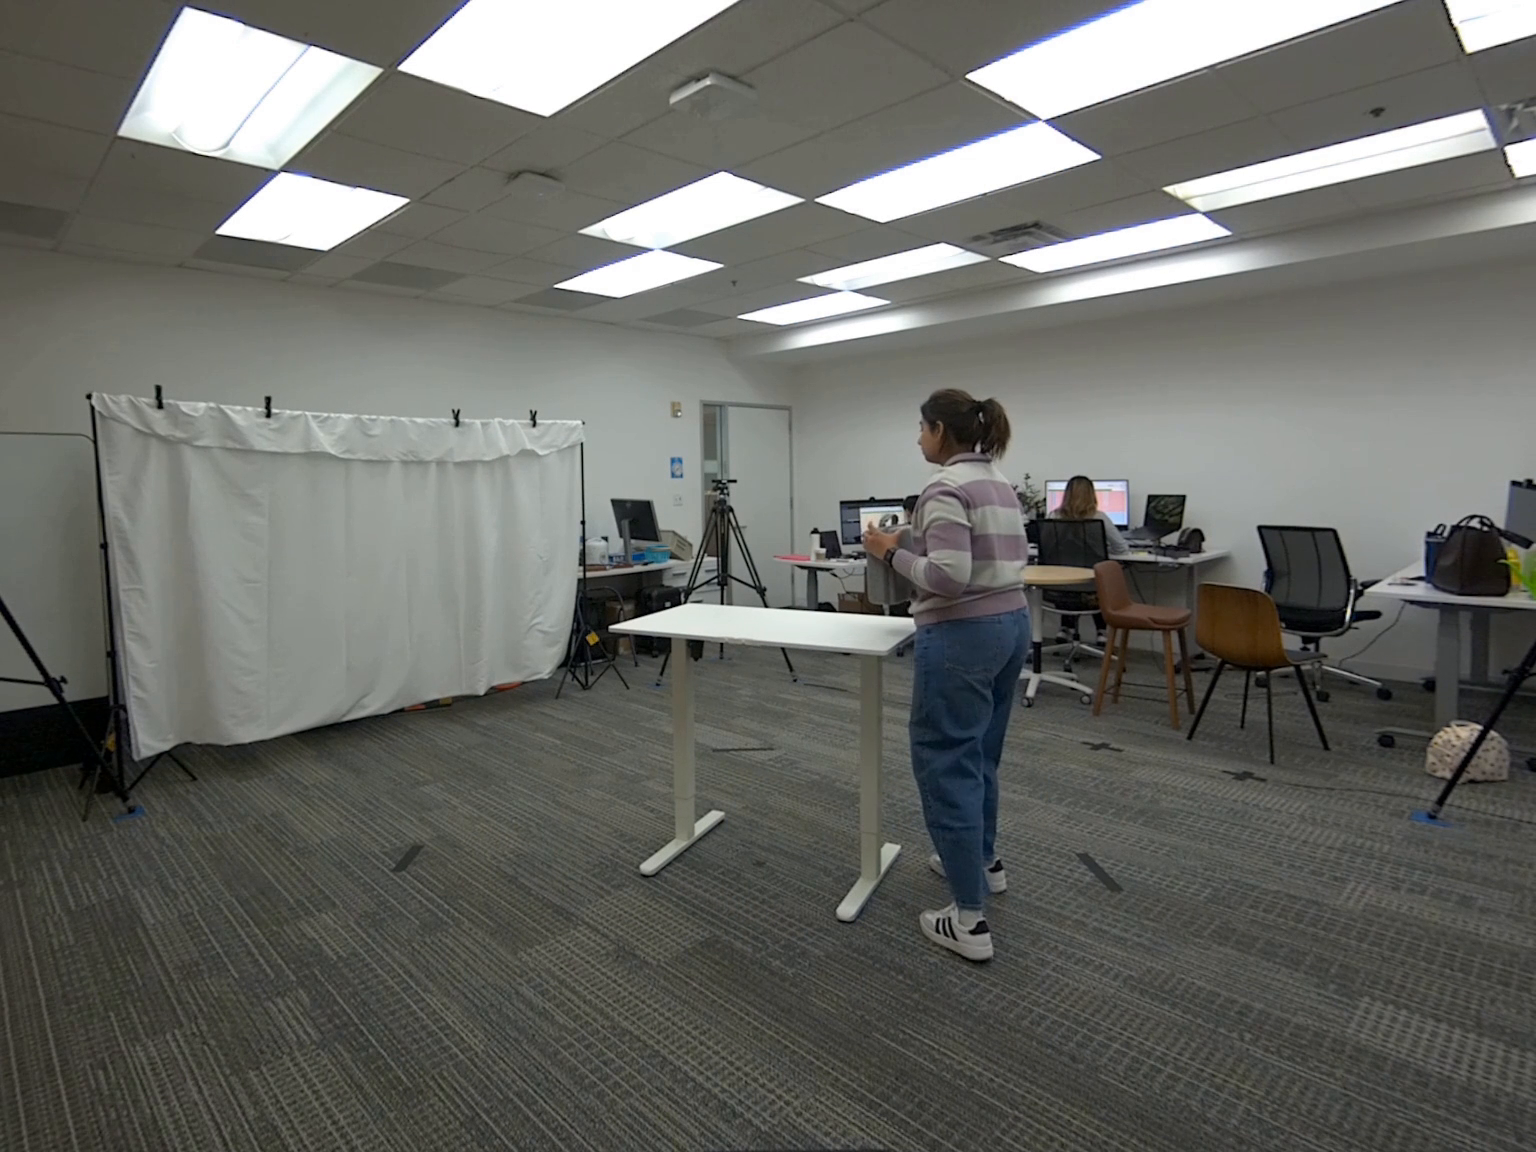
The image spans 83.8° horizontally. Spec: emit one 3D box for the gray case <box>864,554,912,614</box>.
[{"bbox_3d":[0.427,-0.040,2.856,0.107,0.259,0.252,-2,6,25],"label":"gray case"}]
